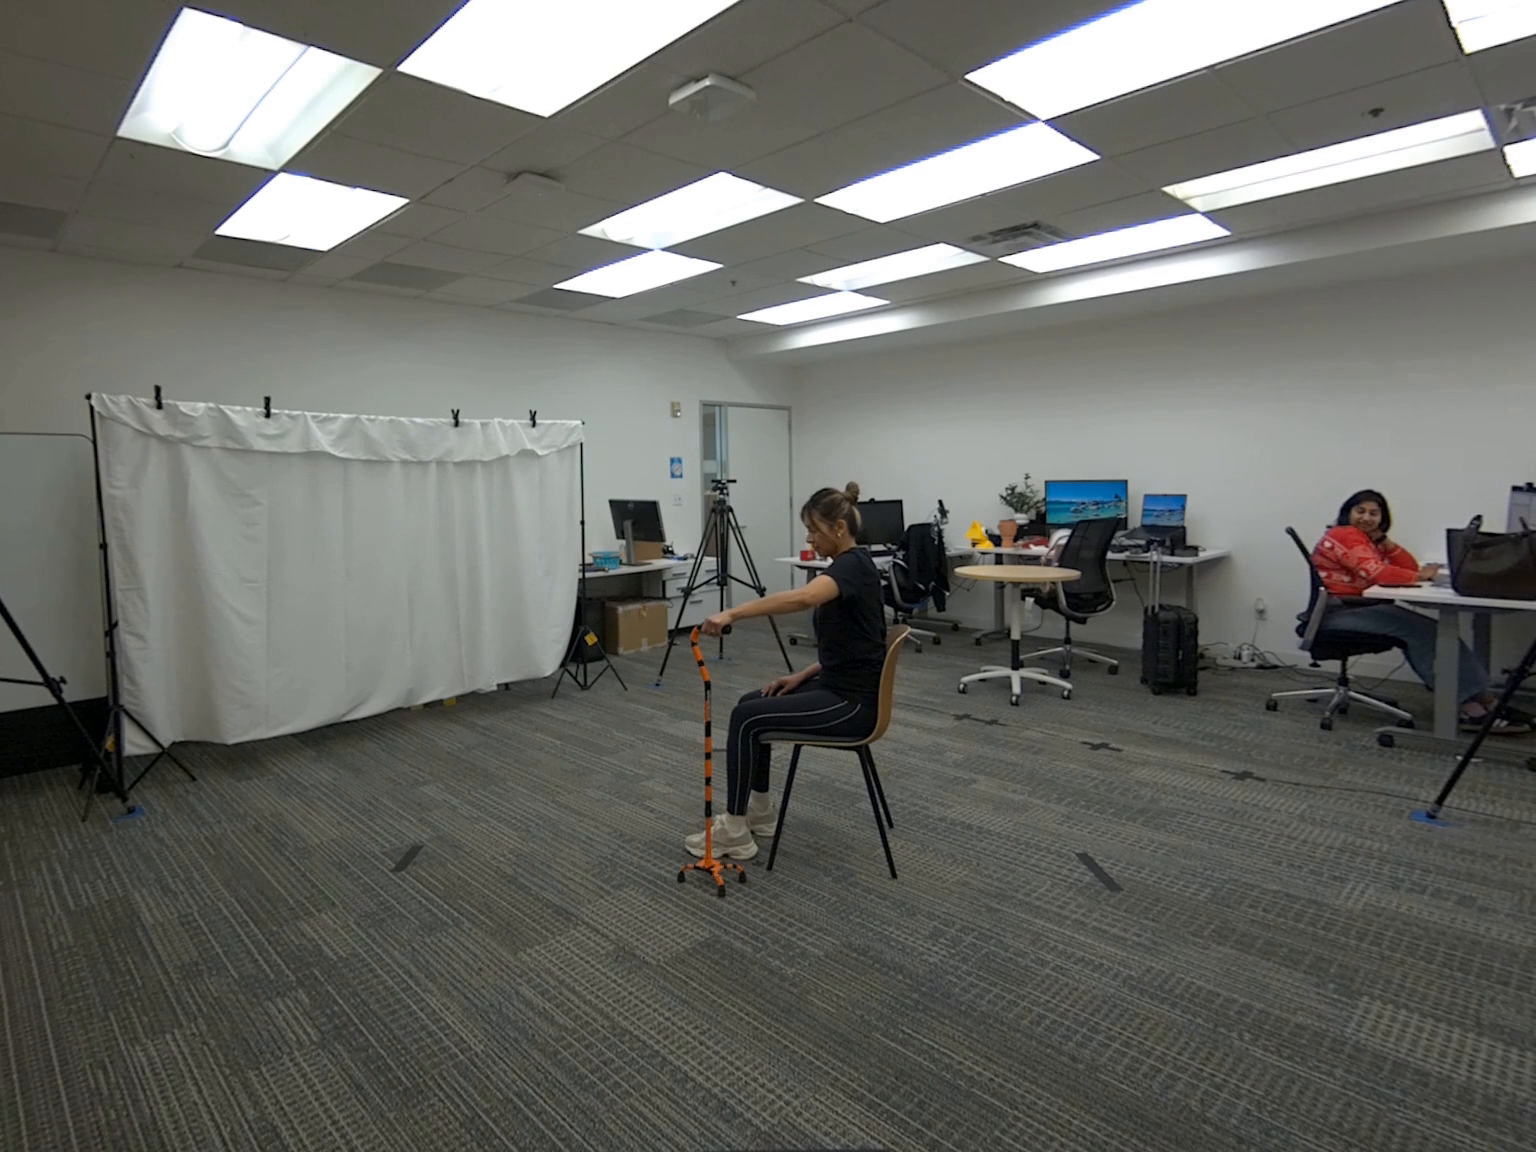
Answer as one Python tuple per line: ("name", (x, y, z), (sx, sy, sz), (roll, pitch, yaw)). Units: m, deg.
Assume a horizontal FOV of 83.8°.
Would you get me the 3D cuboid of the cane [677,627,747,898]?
("cane", (-0.196, 0.620, 2.947), (0.212, 0.905, 0.148), (3, 4, 34))
